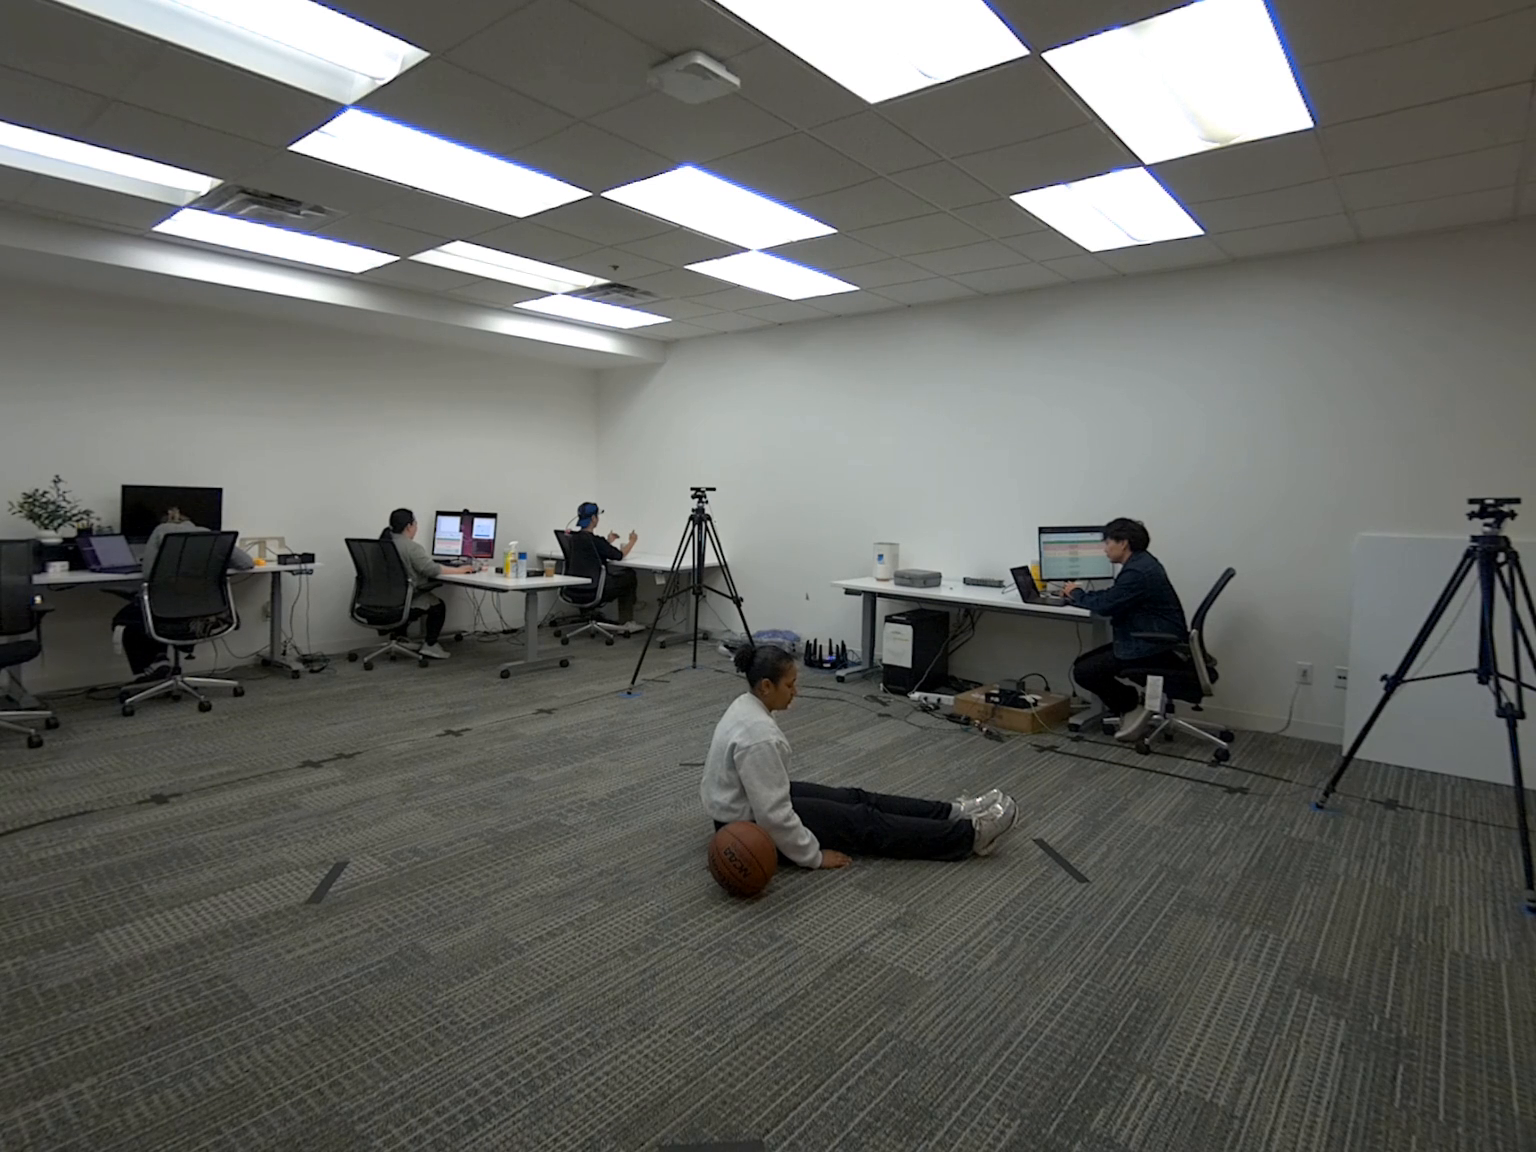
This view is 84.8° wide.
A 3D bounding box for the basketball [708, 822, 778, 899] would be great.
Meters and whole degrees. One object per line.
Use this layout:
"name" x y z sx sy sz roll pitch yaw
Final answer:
"basketball" -0.094 0.962 2.930 0.235 0.235 0.237 1 4 -2
